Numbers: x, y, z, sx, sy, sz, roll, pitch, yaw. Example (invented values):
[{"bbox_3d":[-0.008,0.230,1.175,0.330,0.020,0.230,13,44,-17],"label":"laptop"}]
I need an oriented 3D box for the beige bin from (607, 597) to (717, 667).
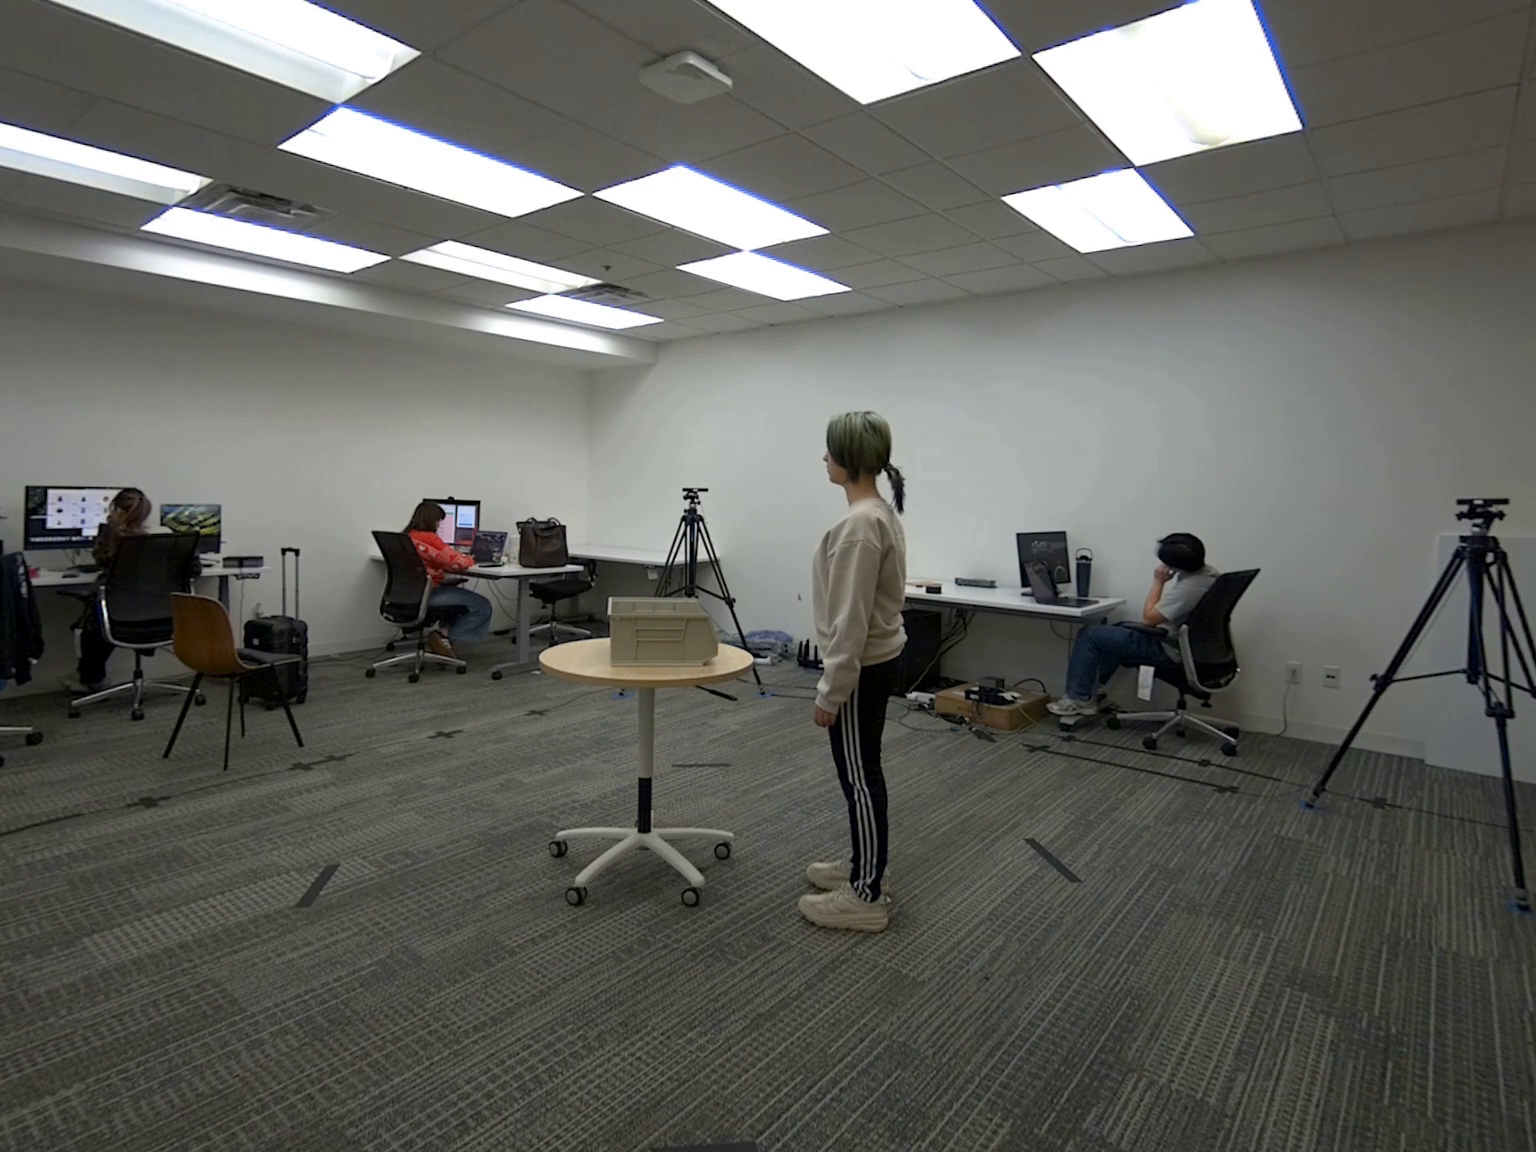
[{"bbox_3d":[-0.391,0.205,3.083,0.374,0.188,0.428,2,6,-9],"label":"beige bin"}]
